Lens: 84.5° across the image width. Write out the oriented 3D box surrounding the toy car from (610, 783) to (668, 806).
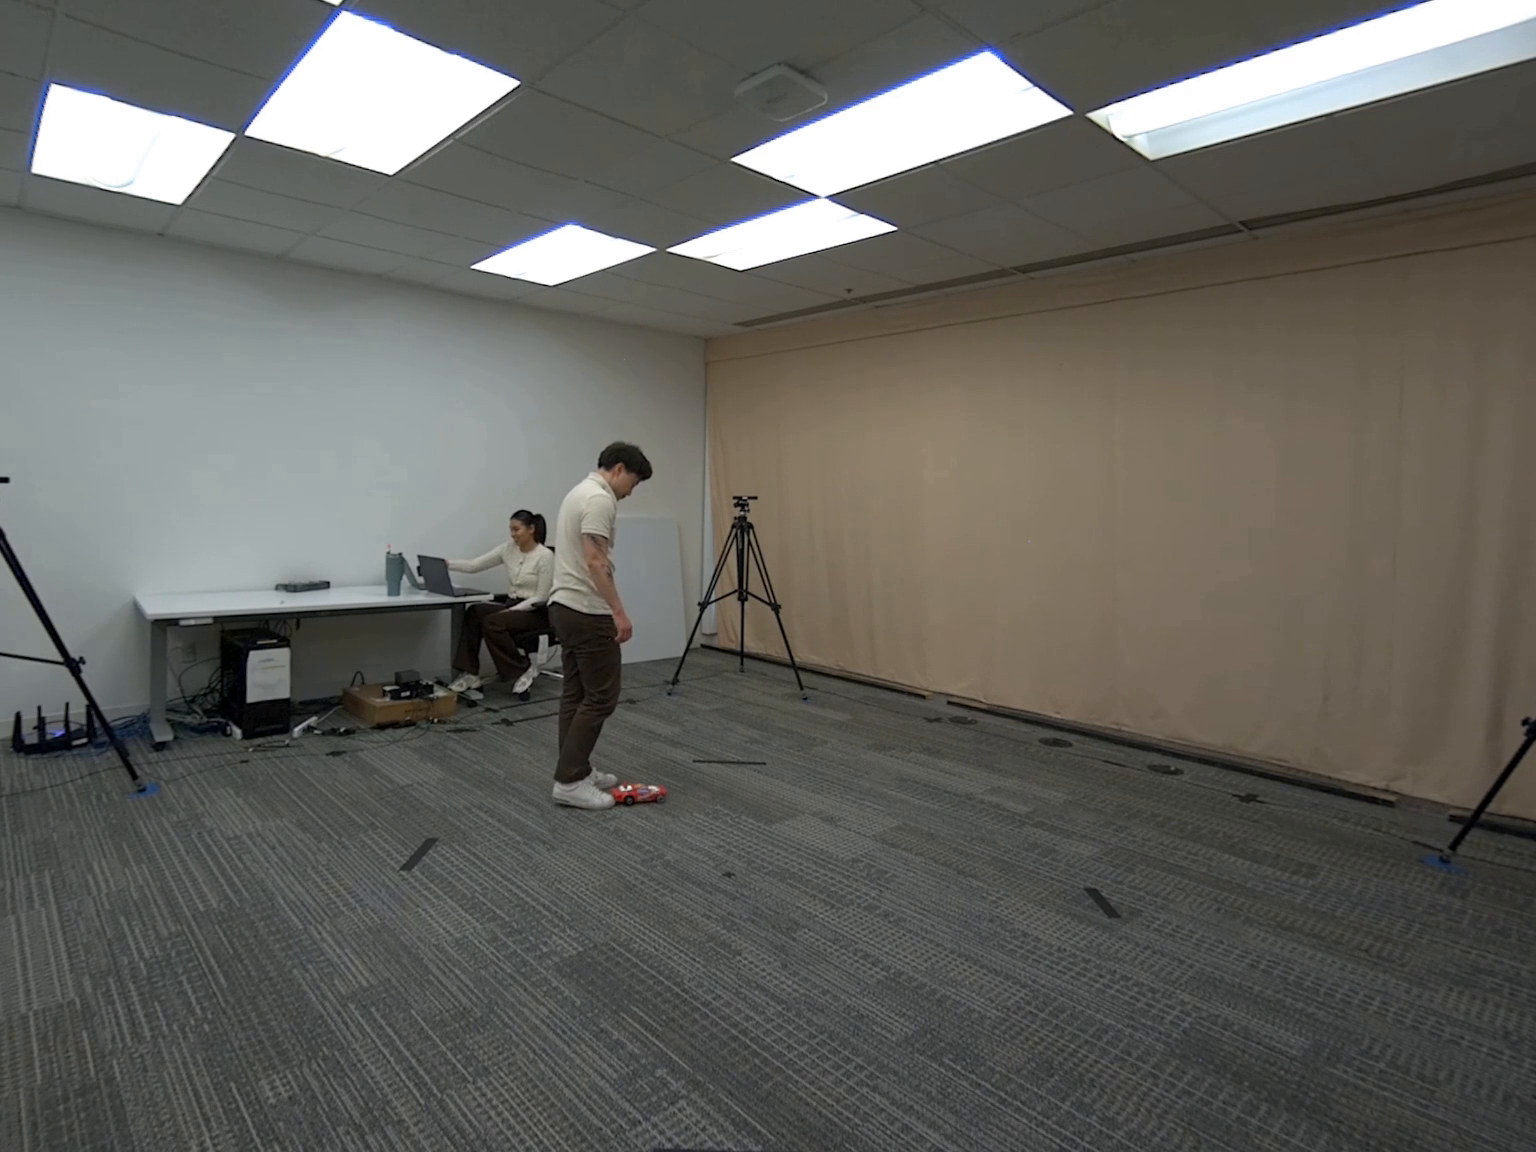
[{"bbox_3d":[-0.603,0.996,3.847,0.250,0.083,0.132,13,0,-19],"label":"toy car"}]
